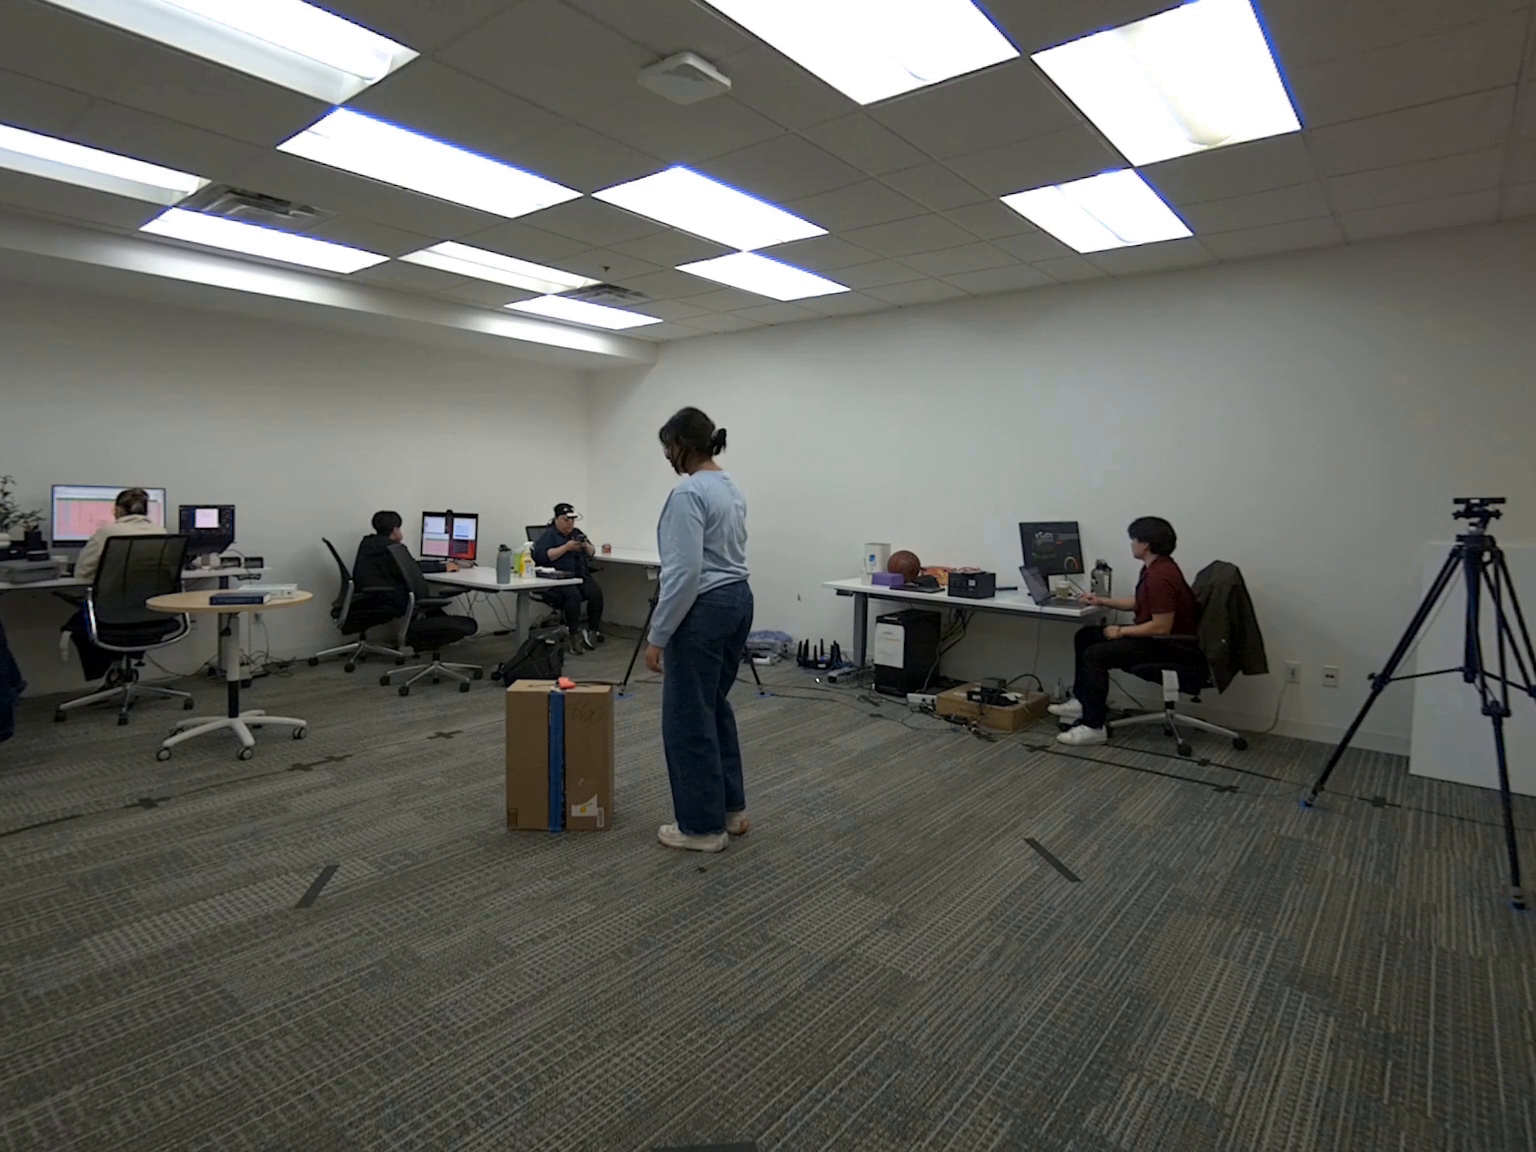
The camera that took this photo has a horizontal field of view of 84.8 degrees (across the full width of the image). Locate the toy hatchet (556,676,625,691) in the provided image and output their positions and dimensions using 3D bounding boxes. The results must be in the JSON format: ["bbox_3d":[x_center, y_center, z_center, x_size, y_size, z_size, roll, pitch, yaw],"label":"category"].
[{"bbox_3d":[-0.764,0.445,3.527,0.272,0.029,0.130,2,4,7],"label":"toy hatchet"}]
